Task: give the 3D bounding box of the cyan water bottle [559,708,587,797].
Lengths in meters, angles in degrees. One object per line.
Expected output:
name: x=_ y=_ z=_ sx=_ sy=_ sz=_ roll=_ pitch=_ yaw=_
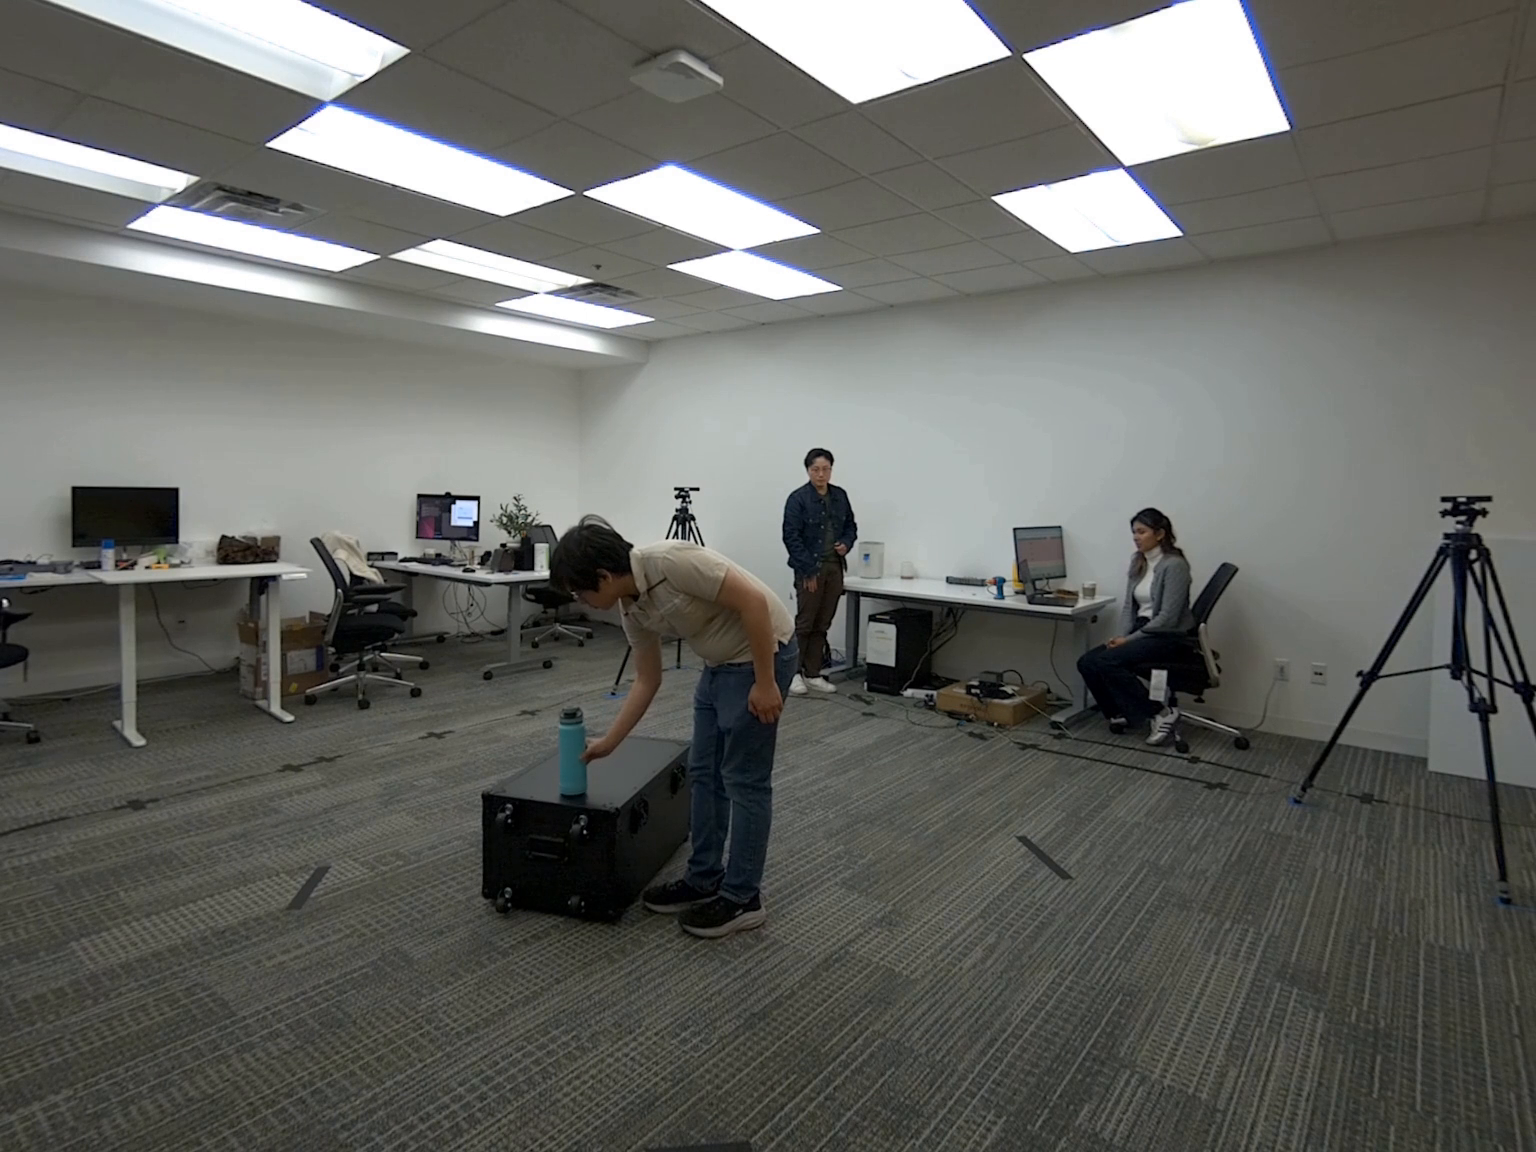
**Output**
cyan water bottle: x=-0.664 y=0.562 z=2.814 sx=0.092 sy=0.283 sz=0.092 roll=-2 pitch=0 yaw=-2
